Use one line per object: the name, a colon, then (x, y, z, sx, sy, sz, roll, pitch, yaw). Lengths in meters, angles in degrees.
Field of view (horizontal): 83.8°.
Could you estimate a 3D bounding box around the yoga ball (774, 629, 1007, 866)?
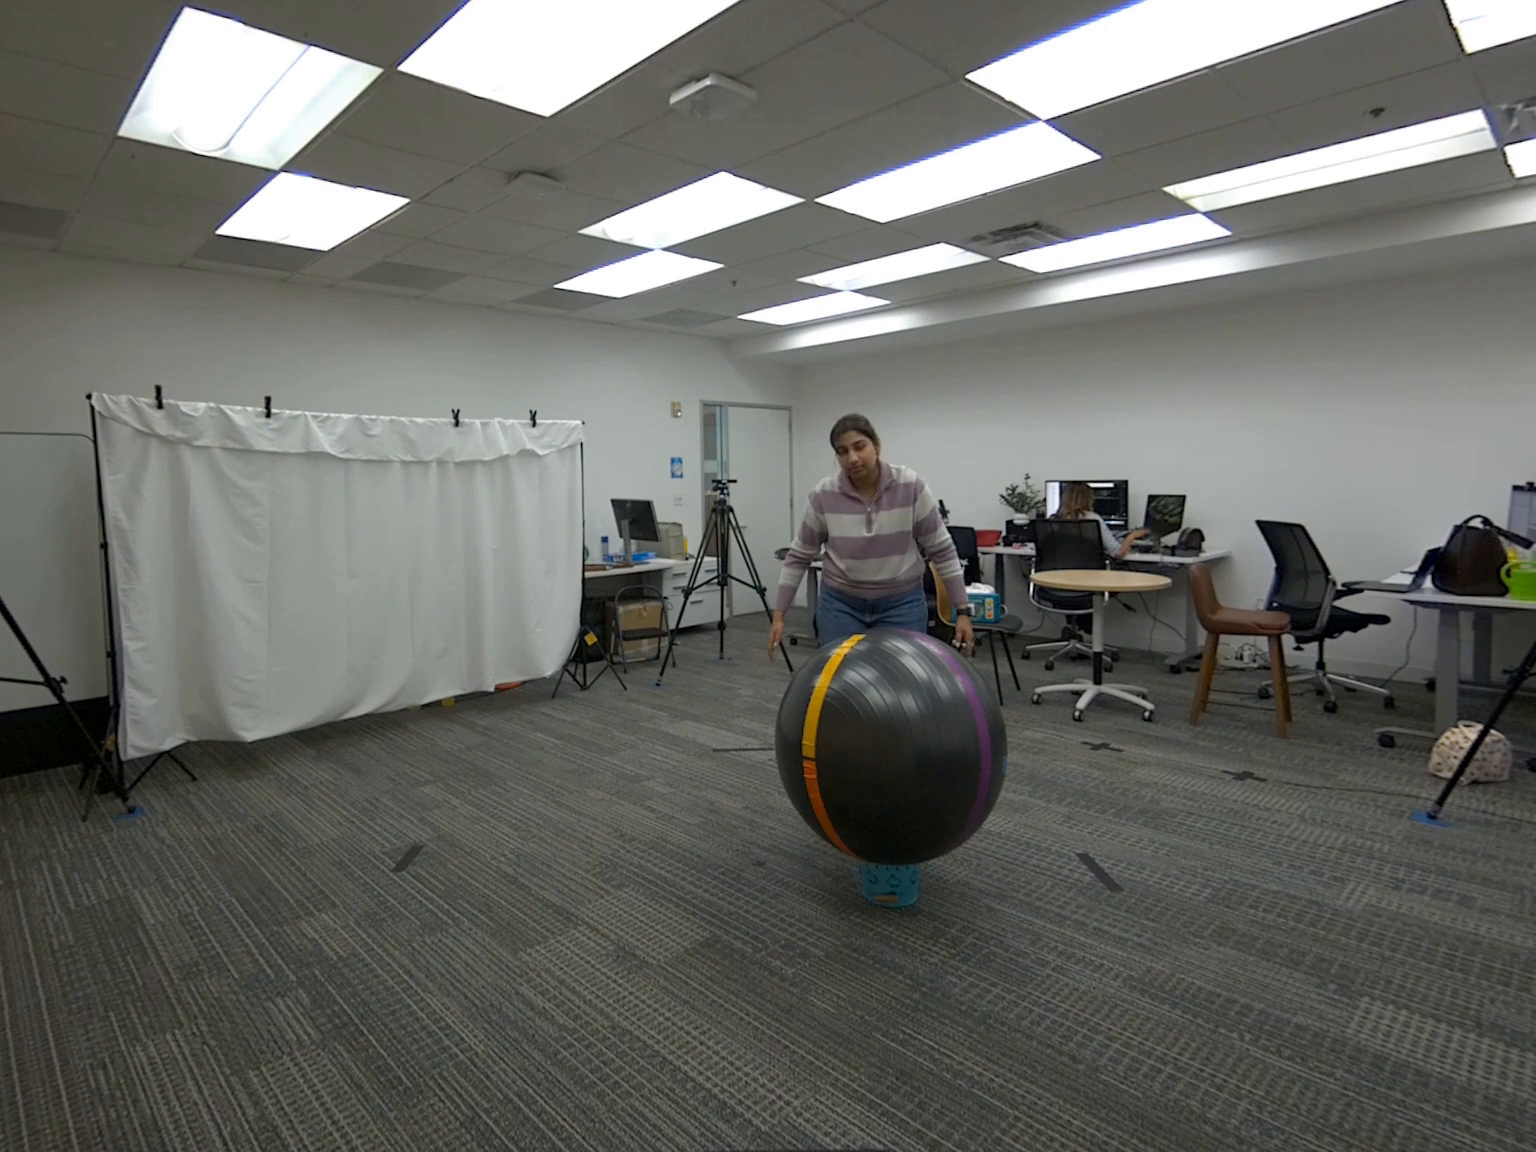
yoga ball: (0.402, 0.559, 2.835, 0.757, 0.755, 0.762, -1, 5, -2)
